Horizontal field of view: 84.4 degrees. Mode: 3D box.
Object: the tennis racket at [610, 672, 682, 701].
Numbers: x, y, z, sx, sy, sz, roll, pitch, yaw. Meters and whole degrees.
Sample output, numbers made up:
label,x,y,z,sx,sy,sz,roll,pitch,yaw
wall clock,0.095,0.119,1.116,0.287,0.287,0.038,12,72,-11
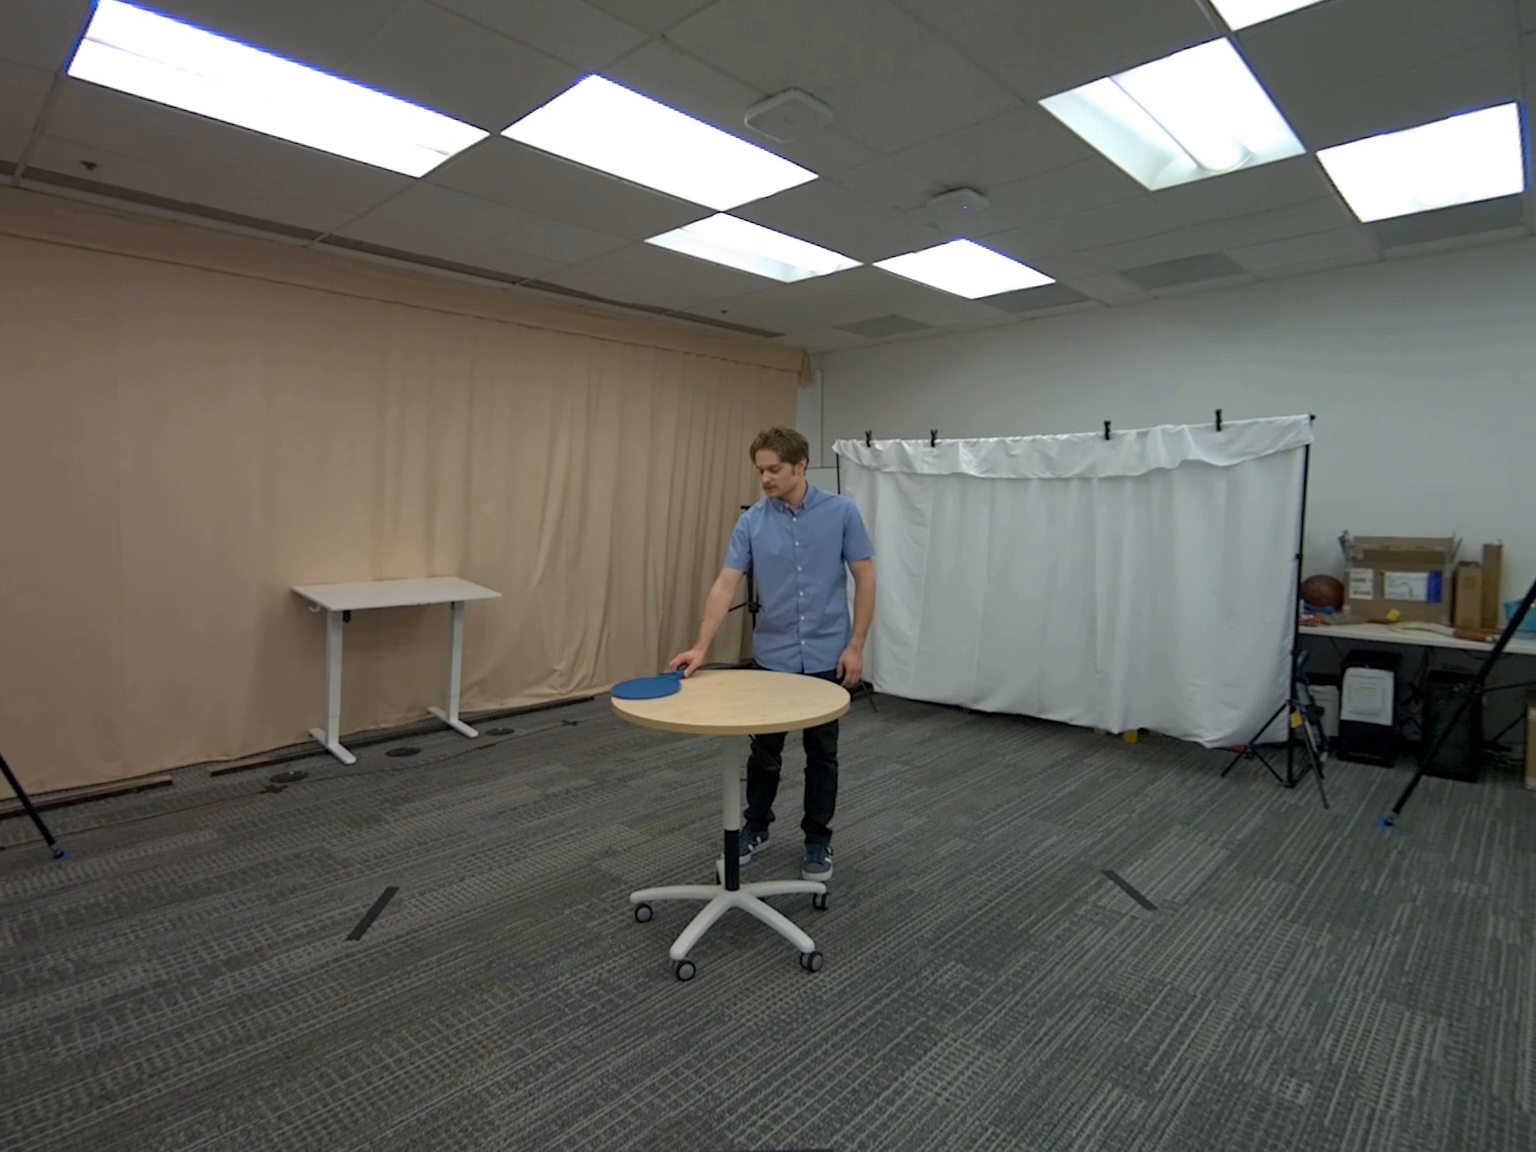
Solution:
label,x,y,z,sx,sy,sz,roll,pitch,yaw
tennis racket,-0.383,0.361,2.854,0.219,0.031,0.423,4,8,25
